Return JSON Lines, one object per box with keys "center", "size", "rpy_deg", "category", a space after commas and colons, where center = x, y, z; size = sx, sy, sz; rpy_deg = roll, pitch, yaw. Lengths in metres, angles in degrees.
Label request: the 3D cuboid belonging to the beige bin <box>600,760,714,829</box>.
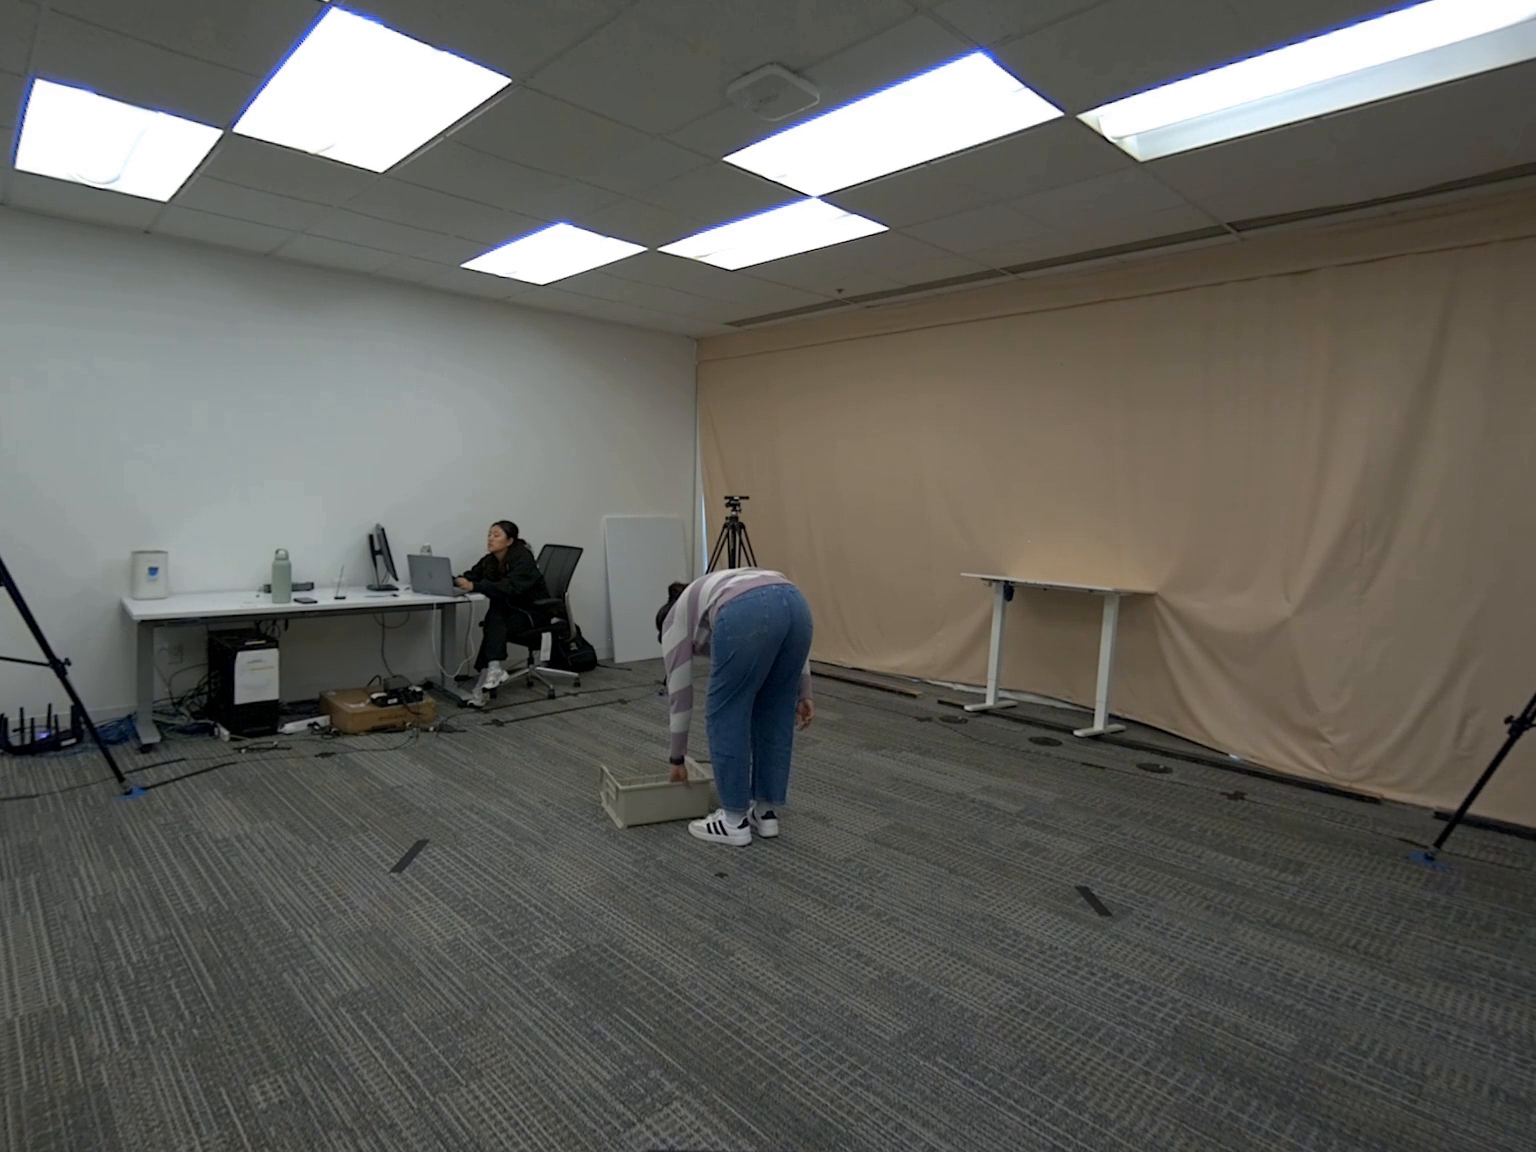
{"center": [-0.512, 0.948, 3.745], "size": [0.415, 0.188, 0.385], "rpy_deg": [0, 6, -25], "category": "beige bin"}
